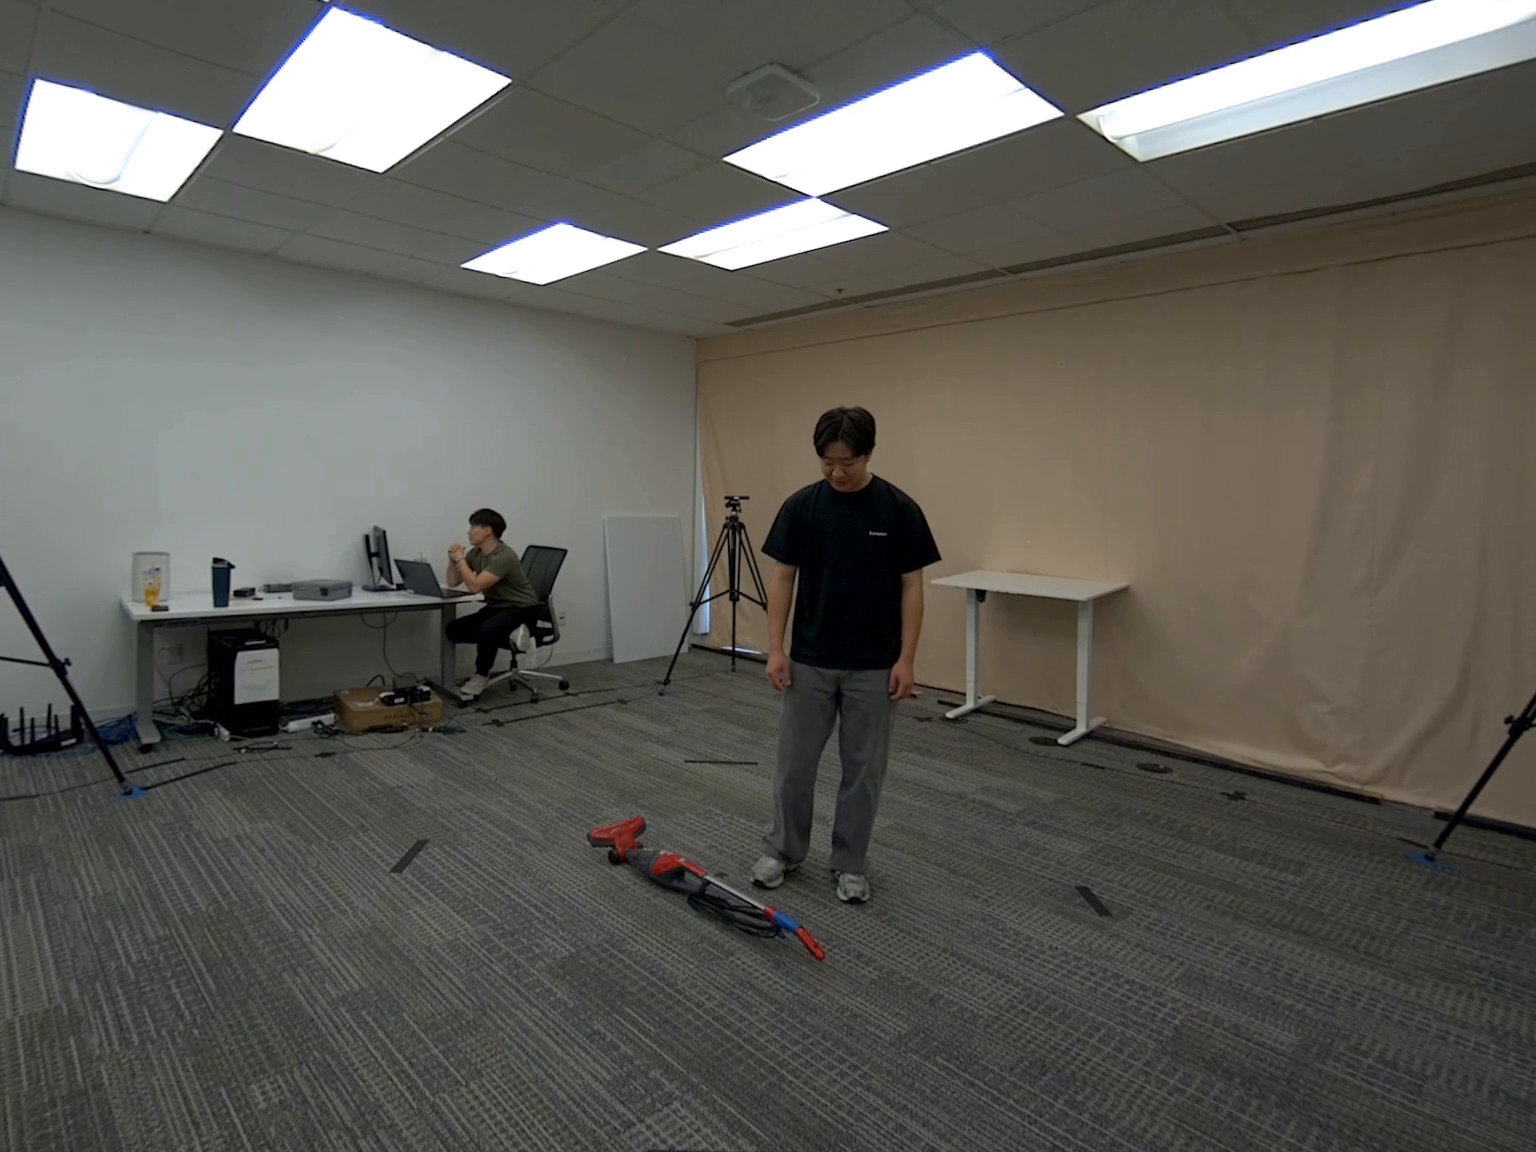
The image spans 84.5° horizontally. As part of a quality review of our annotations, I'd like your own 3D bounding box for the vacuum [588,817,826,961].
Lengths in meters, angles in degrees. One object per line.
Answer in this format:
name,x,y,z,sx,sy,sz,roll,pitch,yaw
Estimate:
vacuum,-0.213,1.064,2.851,0.246,0.144,1.077,0,5,-42
